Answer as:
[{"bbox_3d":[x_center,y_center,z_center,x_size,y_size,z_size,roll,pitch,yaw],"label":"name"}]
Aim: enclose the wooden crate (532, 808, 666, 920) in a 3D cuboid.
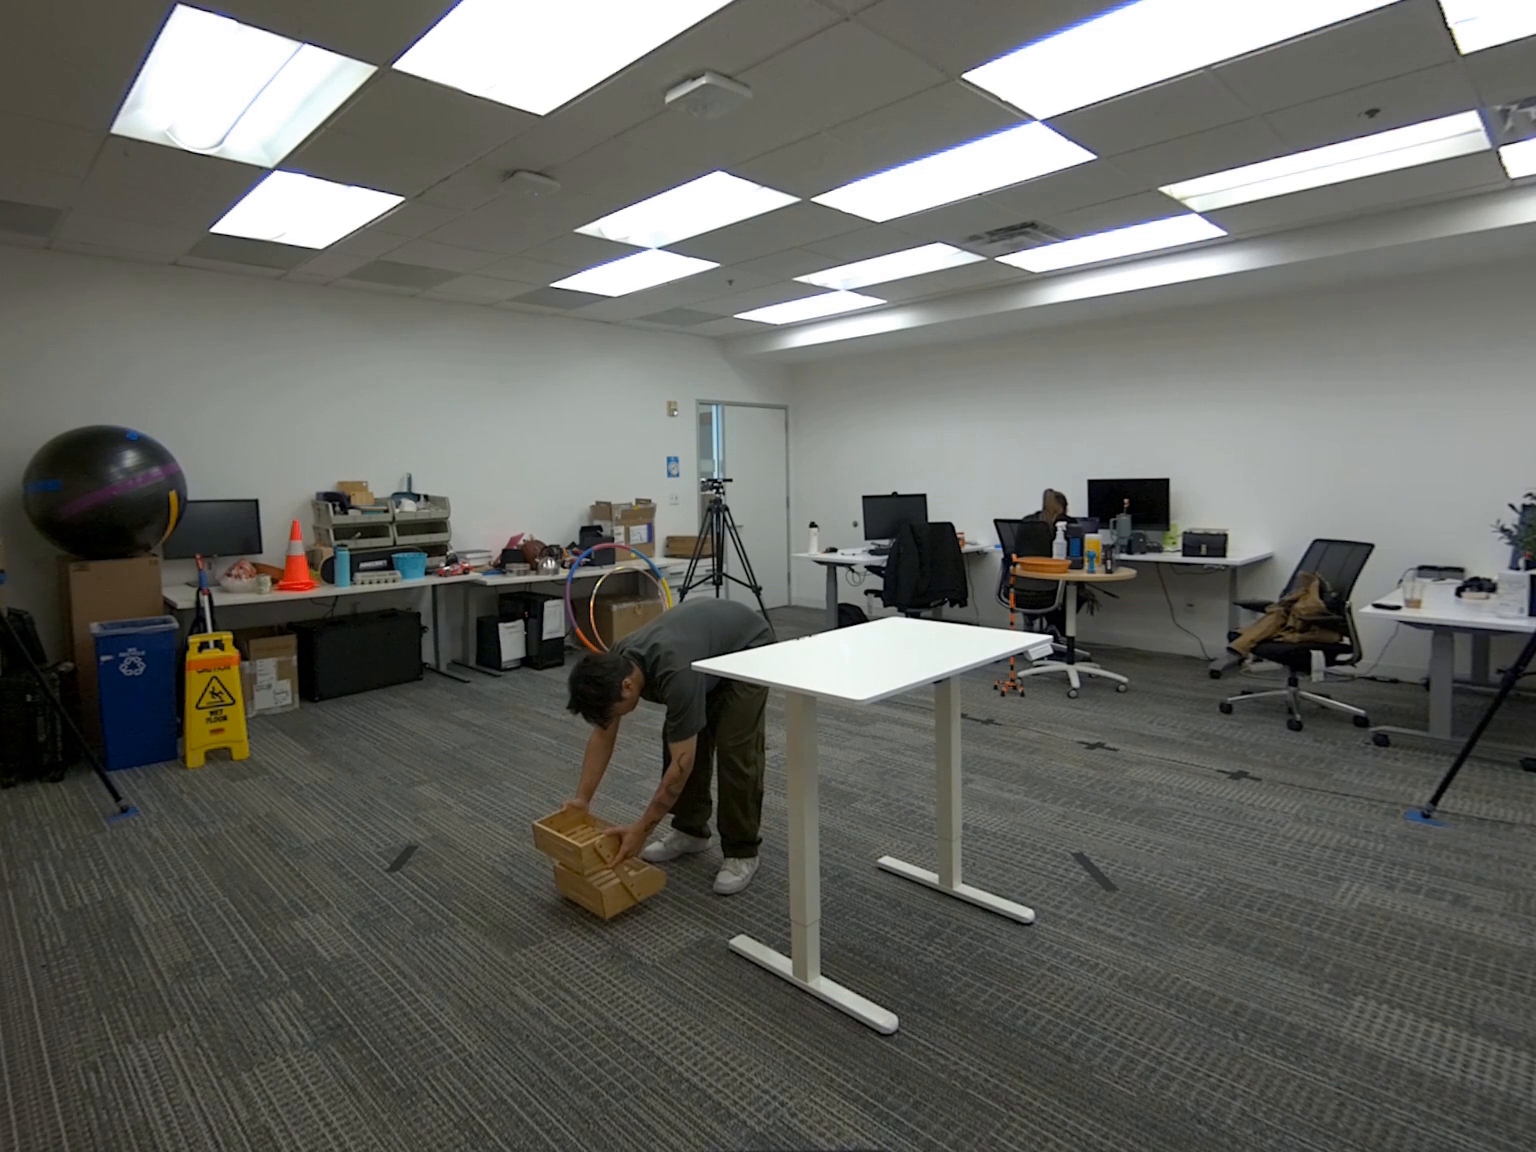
[{"bbox_3d":[-0.551,0.913,2.812,0.295,0.271,0.334,-14,10,-42],"label":"wooden crate"}]
